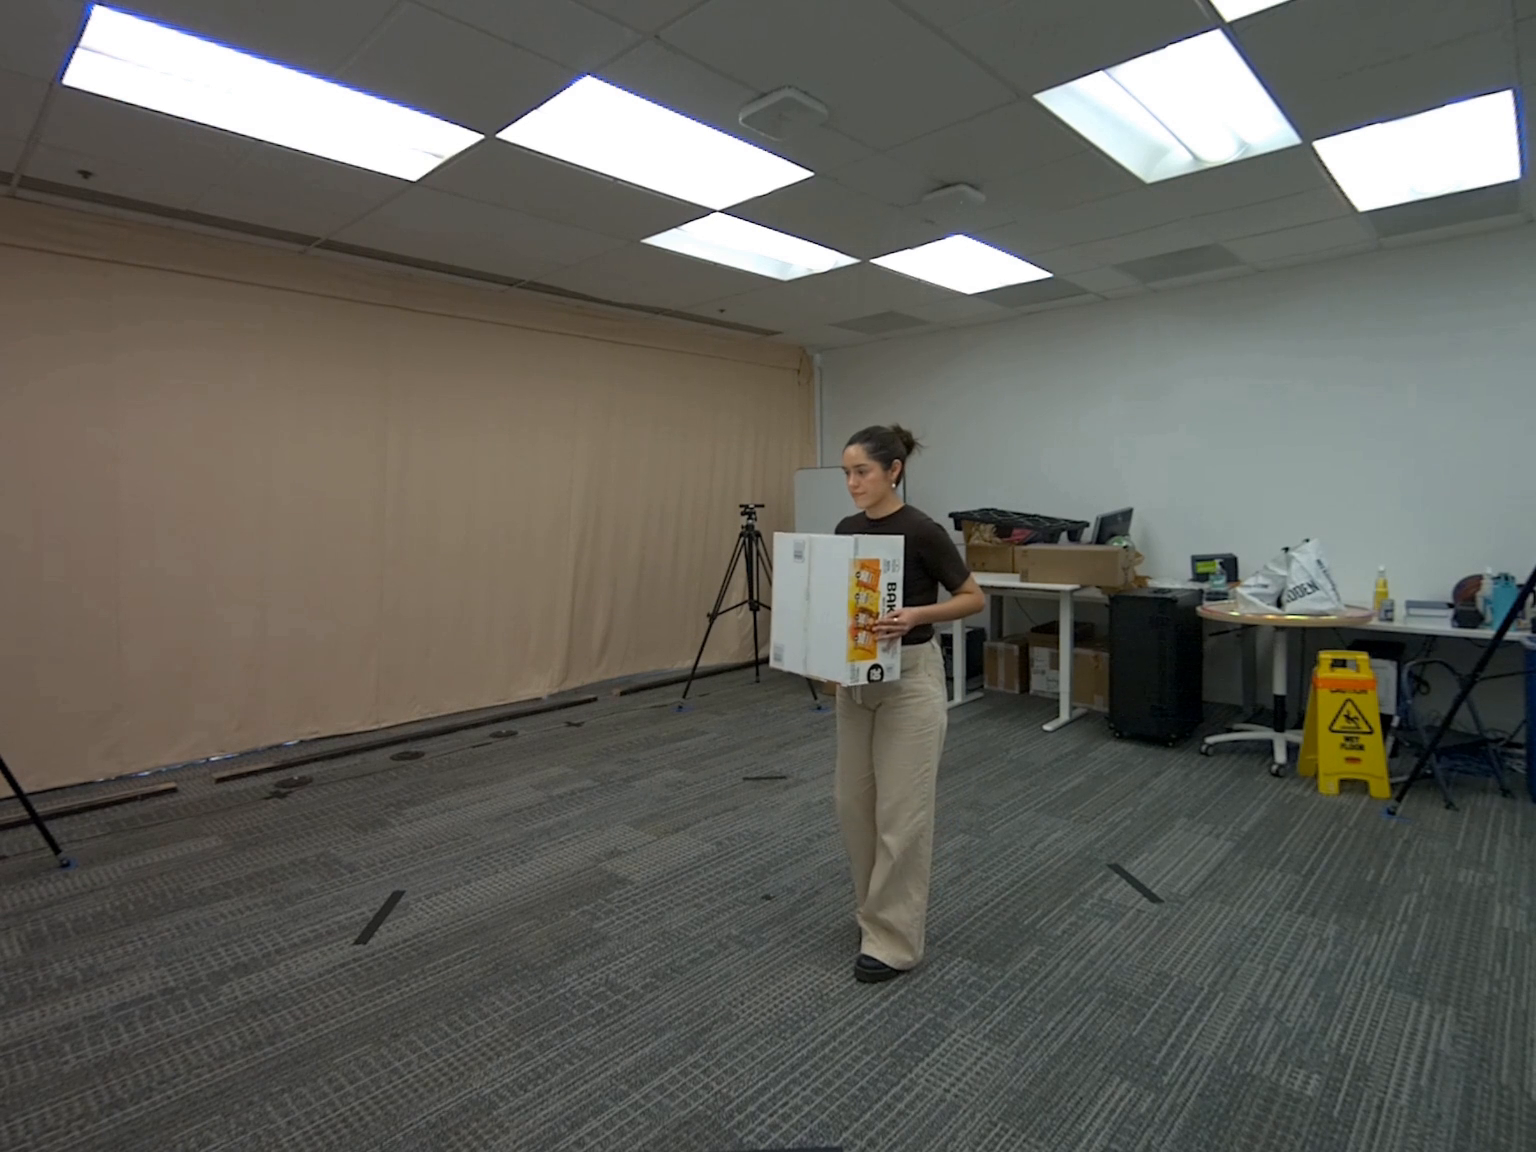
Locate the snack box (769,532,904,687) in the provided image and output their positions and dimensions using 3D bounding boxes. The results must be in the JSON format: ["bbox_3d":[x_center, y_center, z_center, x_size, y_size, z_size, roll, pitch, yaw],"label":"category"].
[{"bbox_3d":[0.197,0.085,2.428,0.199,0.404,0.351,-1,3,-37],"label":"snack box"}]
